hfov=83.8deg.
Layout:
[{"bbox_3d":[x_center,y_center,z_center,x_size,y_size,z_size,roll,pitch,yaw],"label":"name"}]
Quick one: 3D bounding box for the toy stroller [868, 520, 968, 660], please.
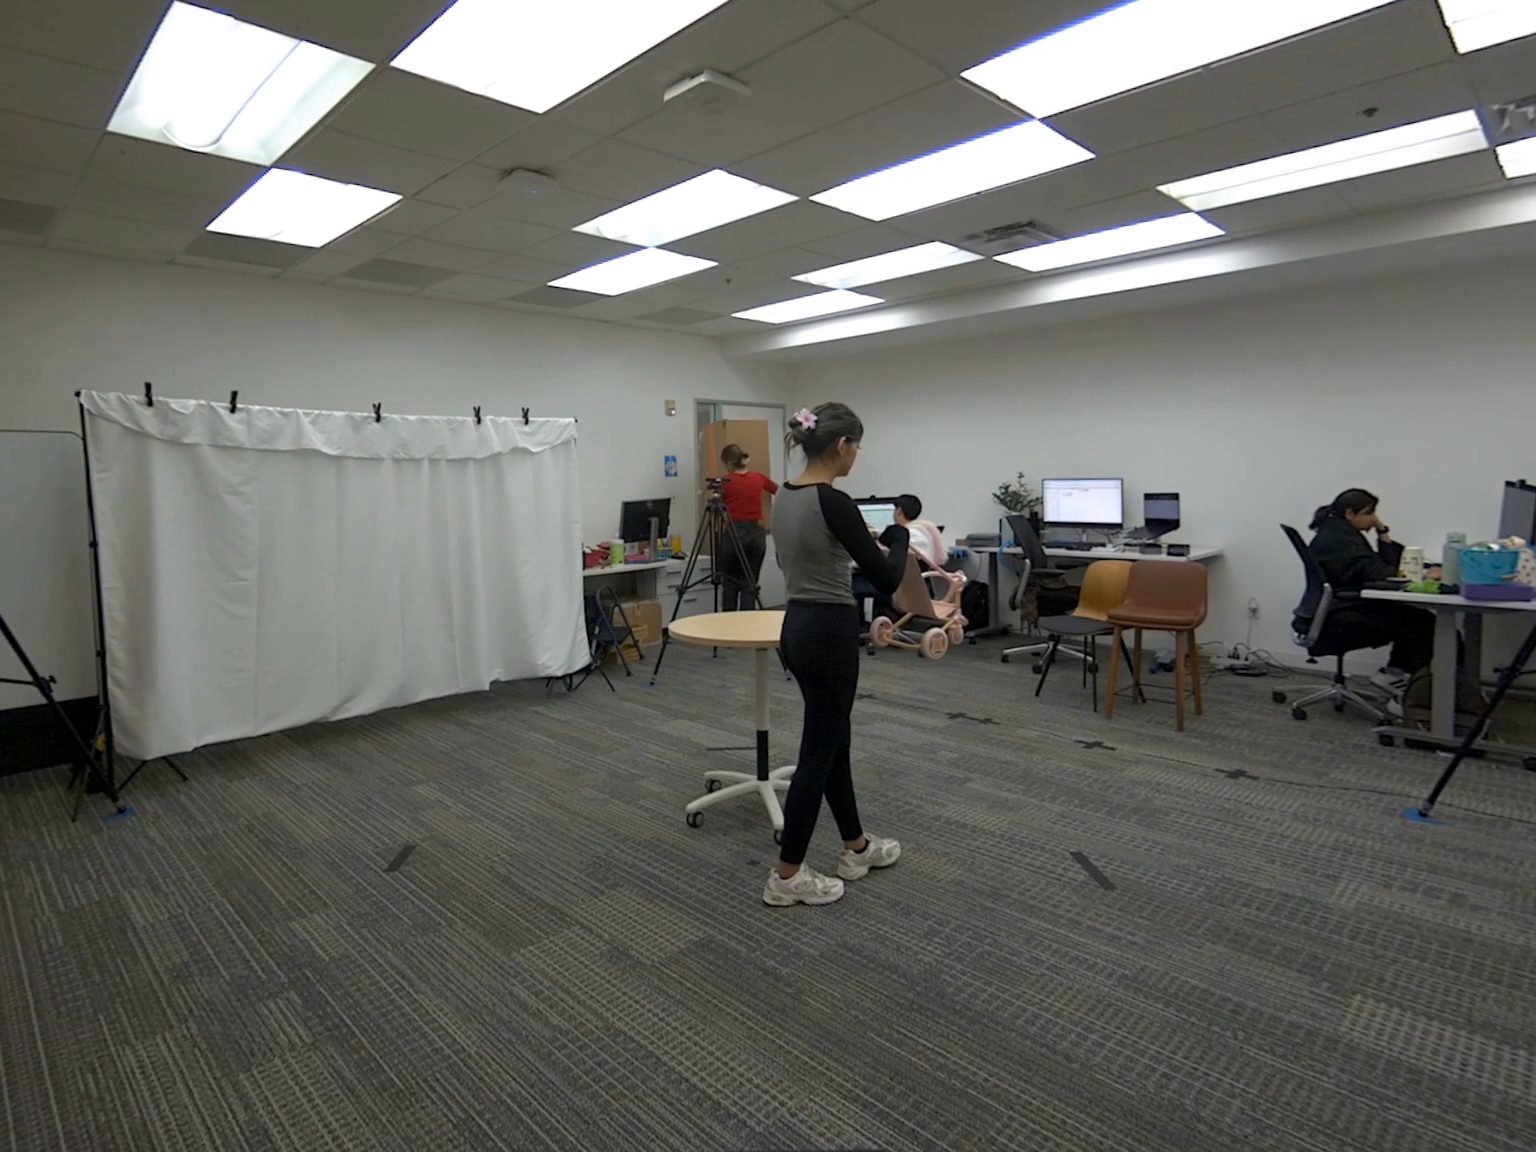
[{"bbox_3d":[0.543,0.040,3.017,0.336,0.528,0.290,-19,15,-28],"label":"toy stroller"}]
